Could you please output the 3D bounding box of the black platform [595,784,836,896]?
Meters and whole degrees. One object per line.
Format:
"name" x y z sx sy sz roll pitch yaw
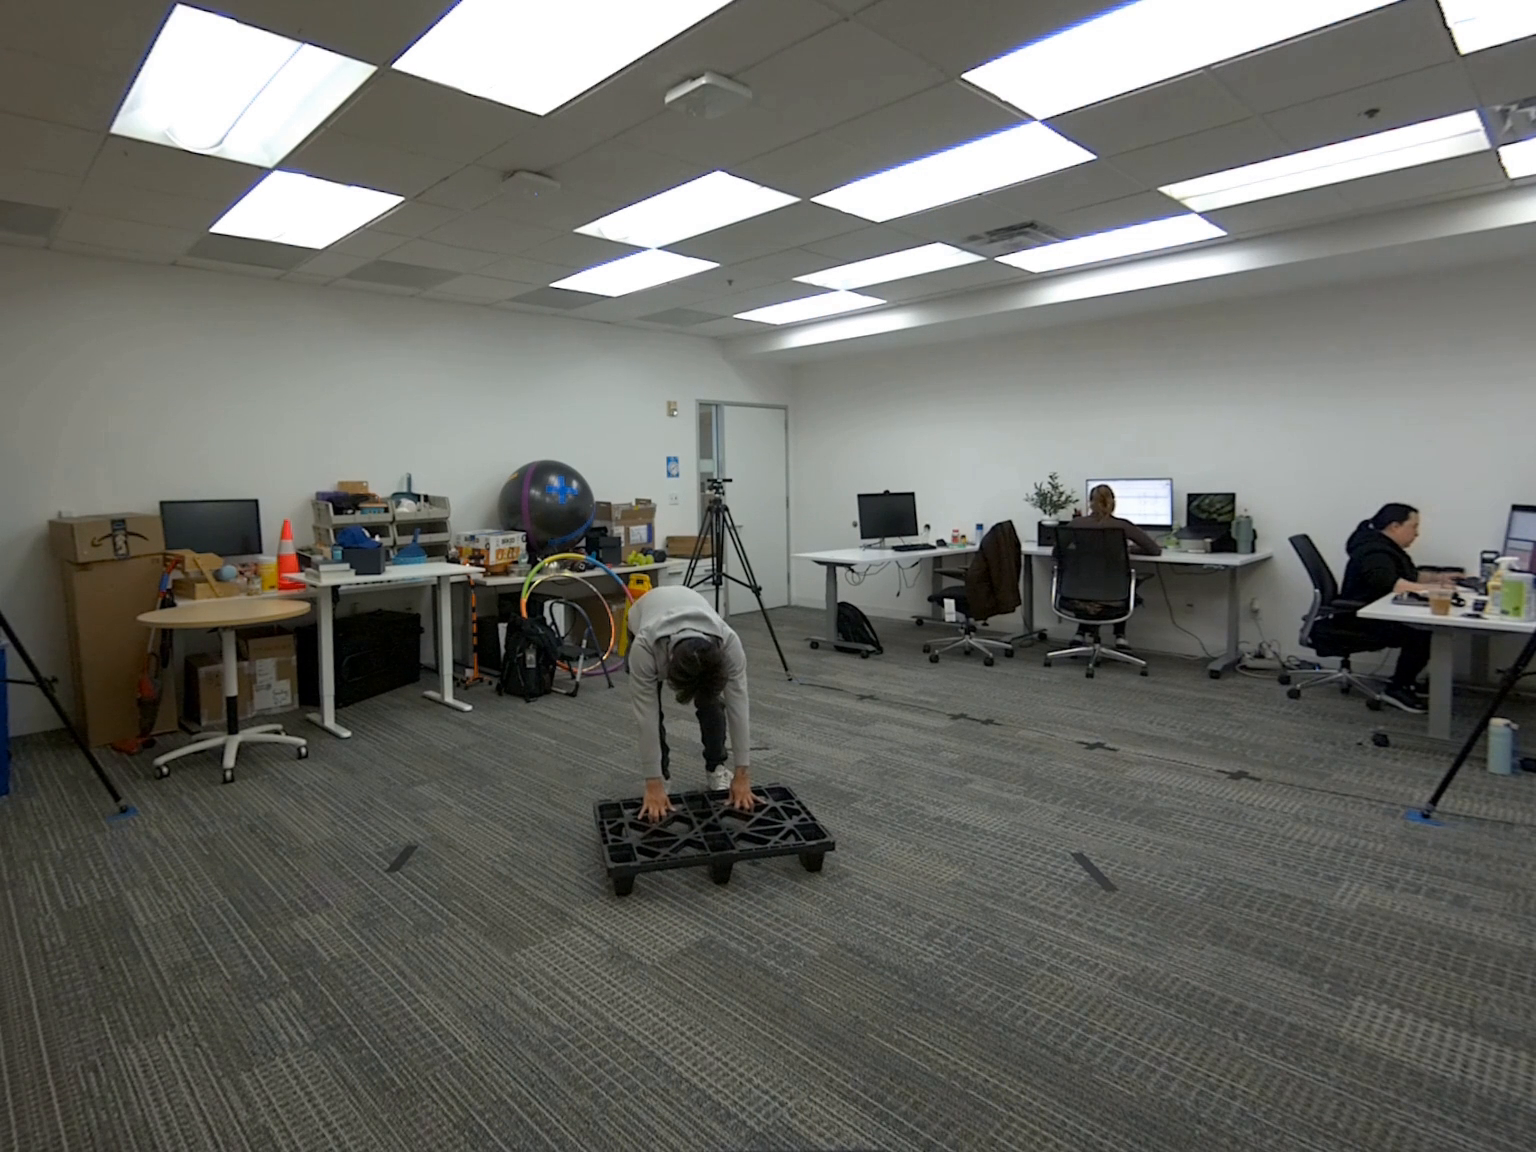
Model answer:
"black platform" -0.226 0.969 3.181 0.795 0.143 0.615 -2 6 -14
